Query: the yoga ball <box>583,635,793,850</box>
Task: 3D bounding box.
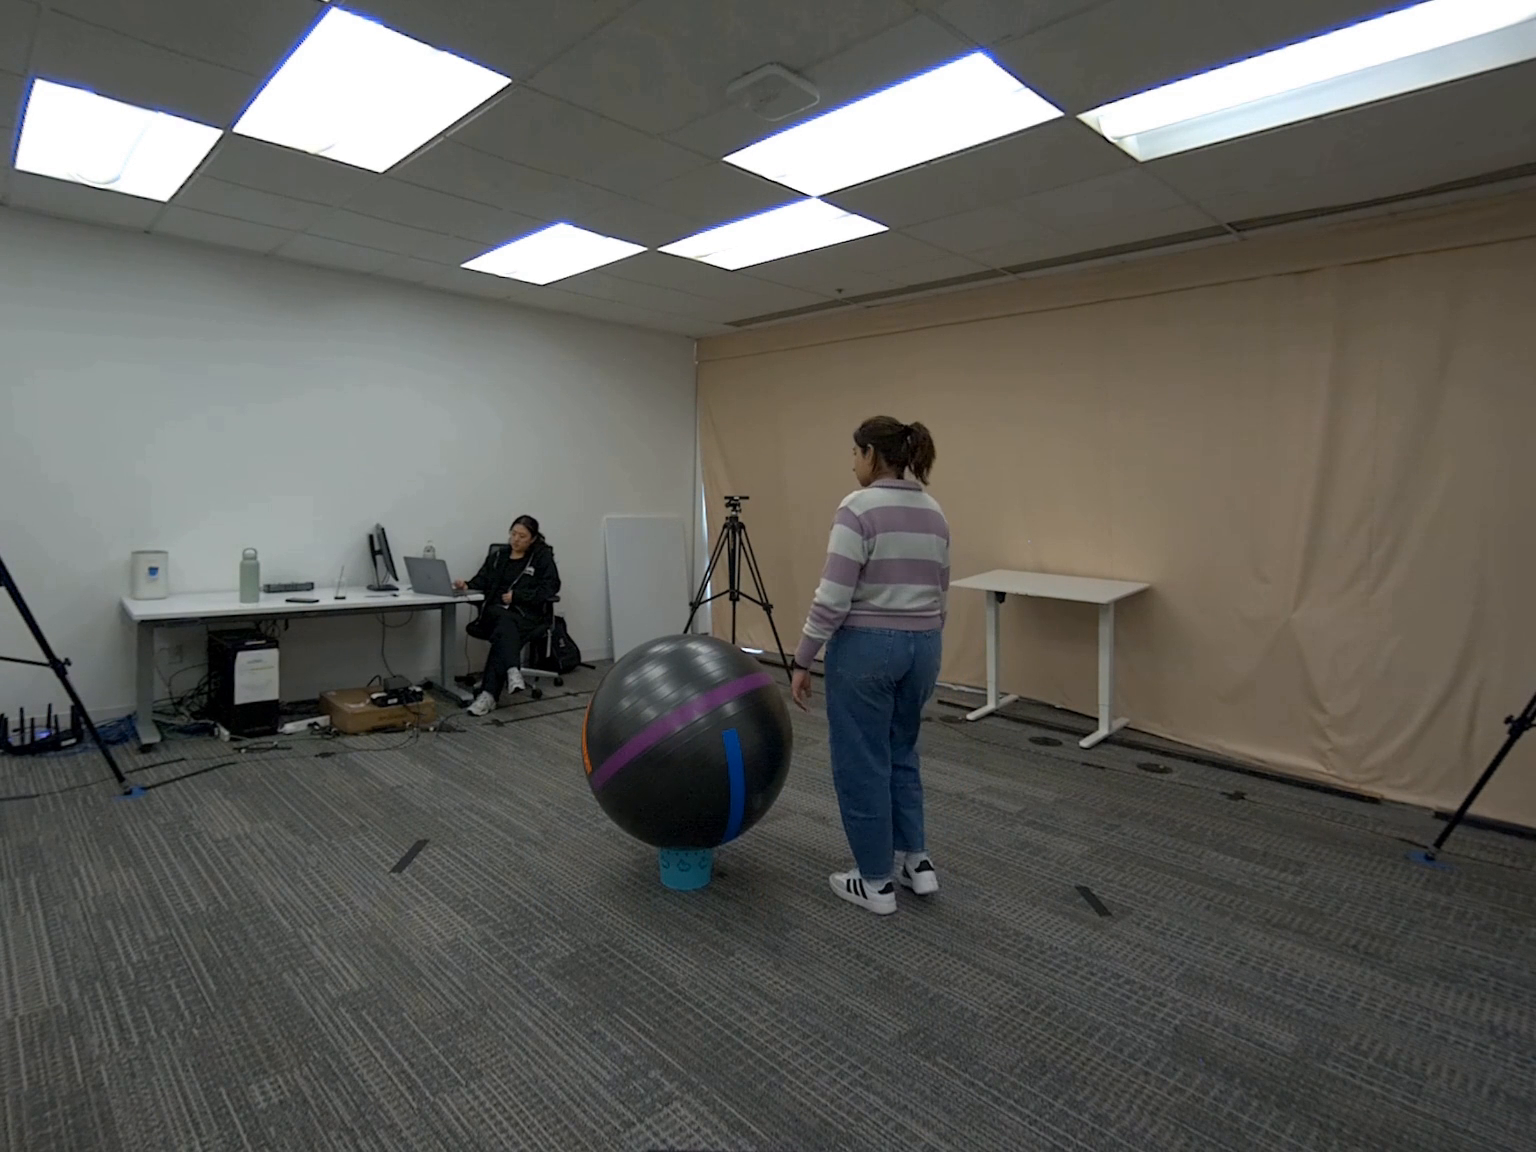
[{"bbox_3d":[-0.295,0.590,3.042,0.757,0.756,0.761,1,4,-1],"label":"yoga ball"}]
